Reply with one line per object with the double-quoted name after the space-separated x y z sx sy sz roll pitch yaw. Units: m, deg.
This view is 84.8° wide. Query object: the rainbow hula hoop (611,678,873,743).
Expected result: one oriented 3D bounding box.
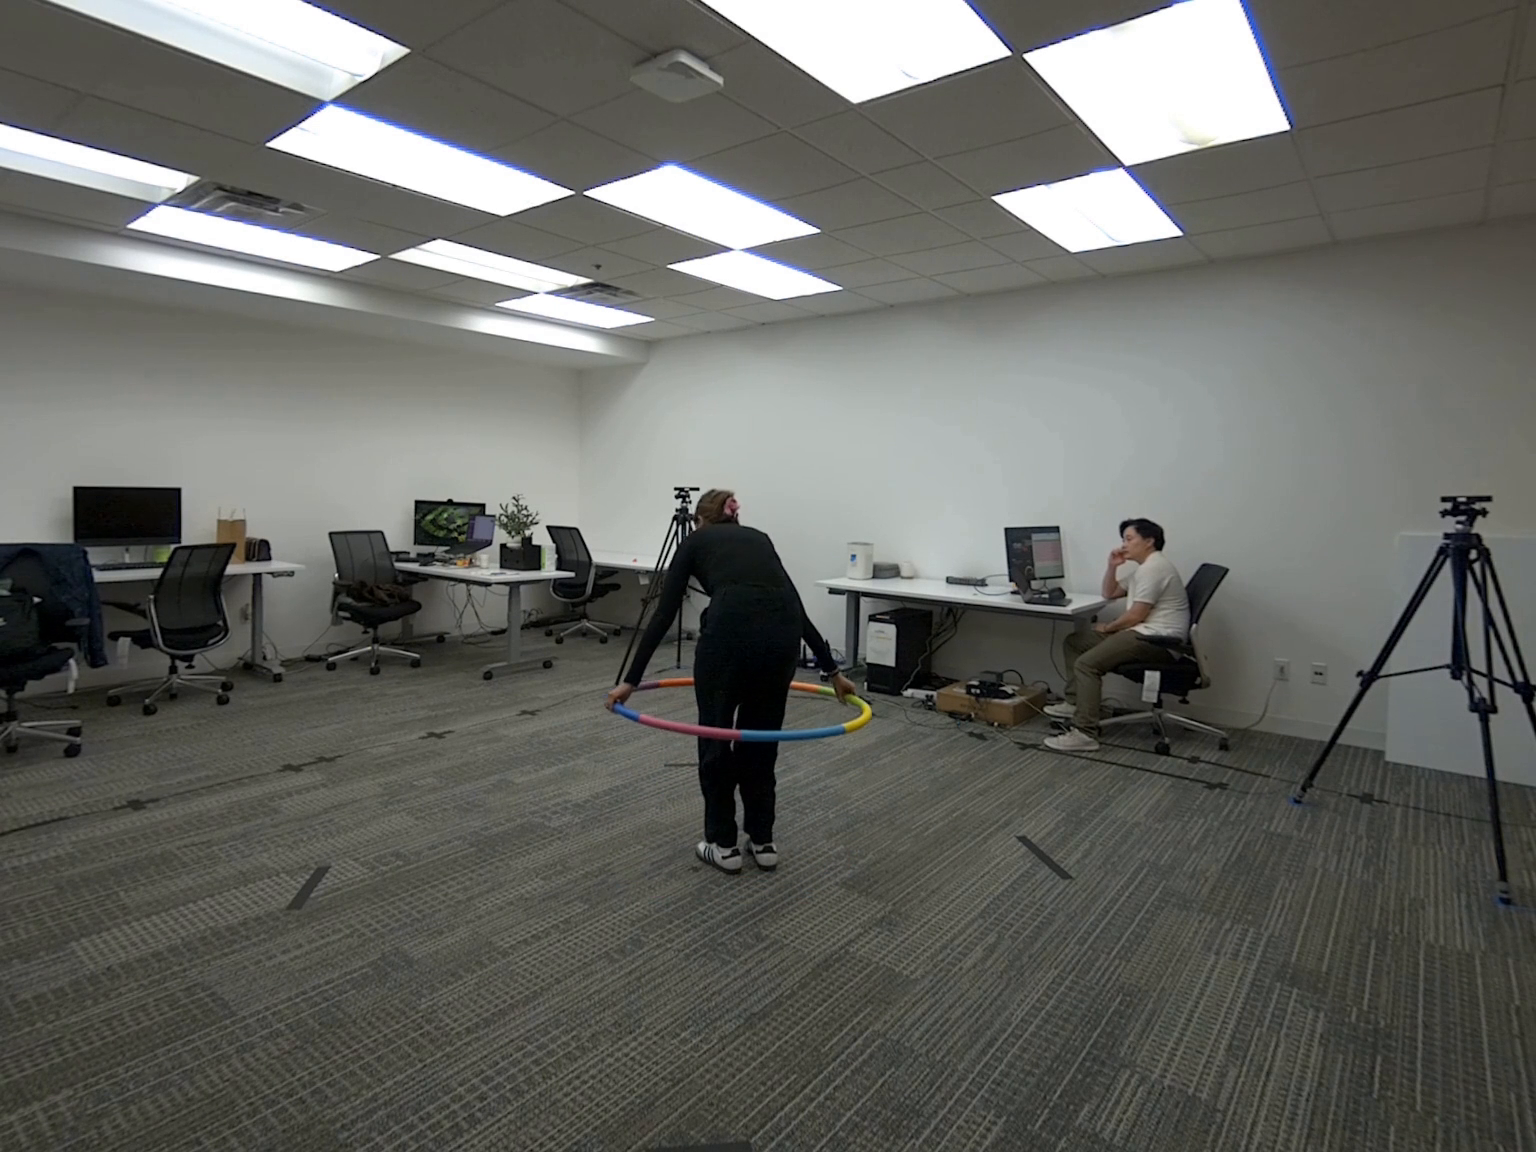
-0.117 0.472 3.181 0.978 0.035 0.981 2 3 -2 "rainbow hula hoop"
